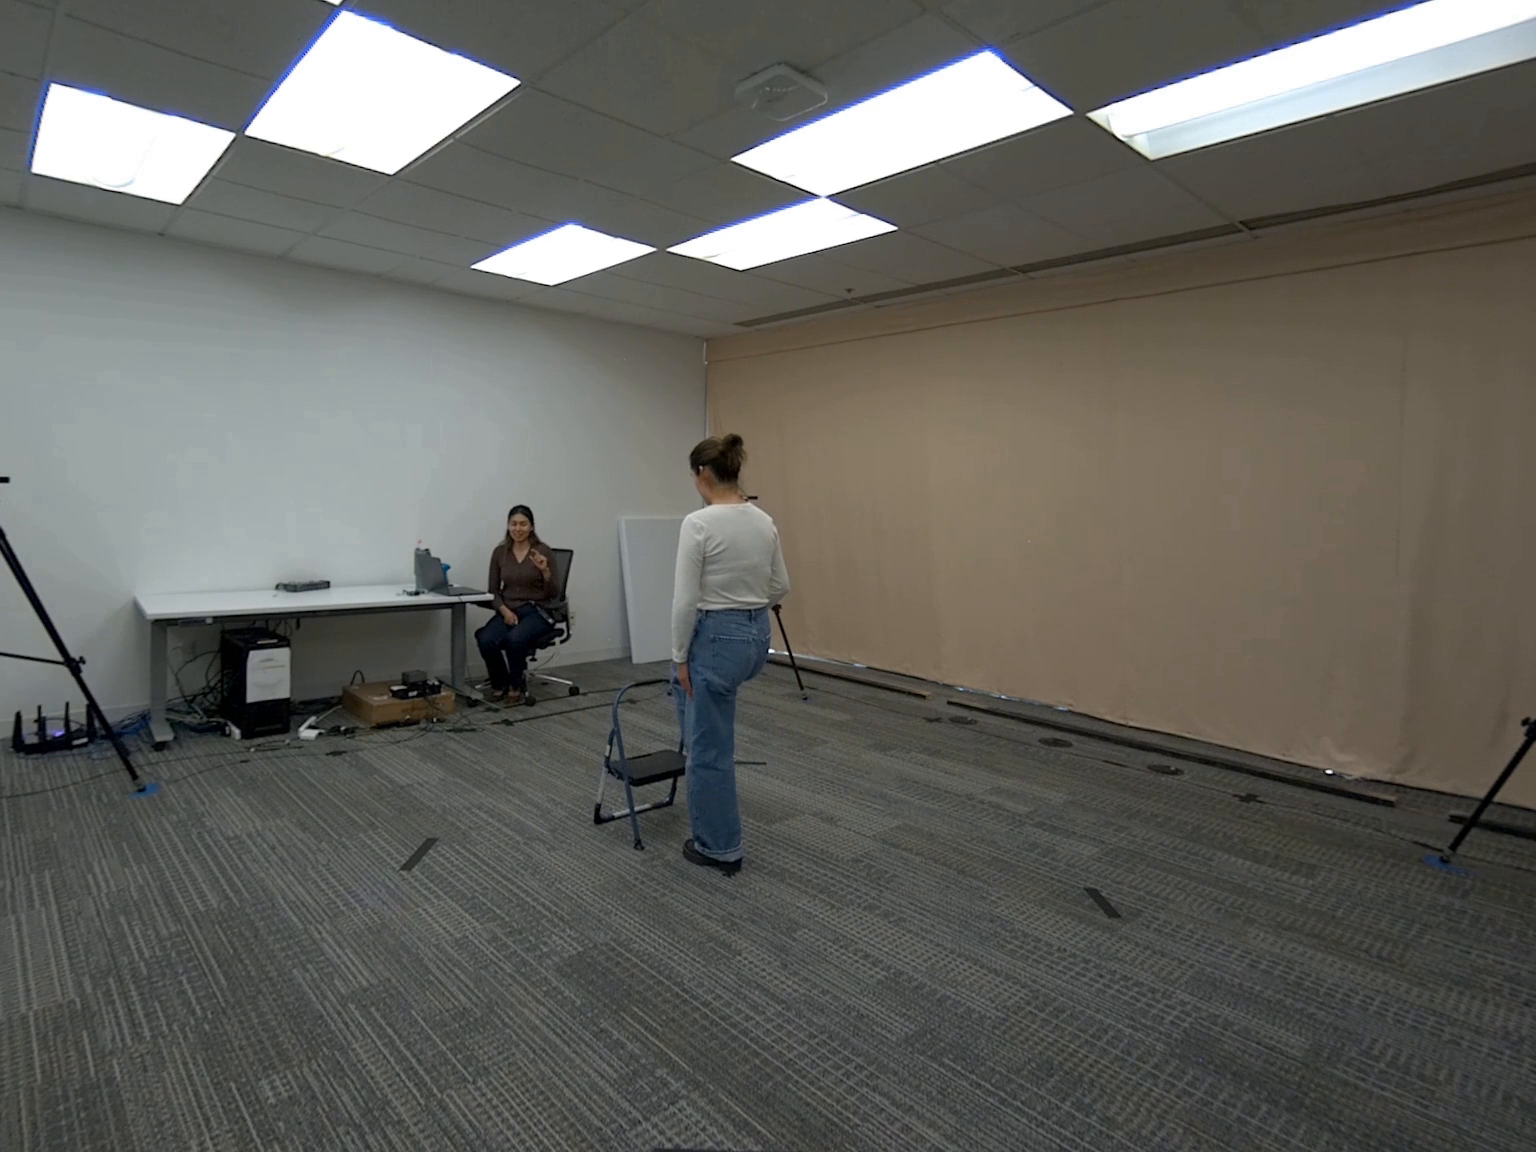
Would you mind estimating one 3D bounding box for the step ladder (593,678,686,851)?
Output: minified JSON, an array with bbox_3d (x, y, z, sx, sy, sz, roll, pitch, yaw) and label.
[{"bbox_3d":[-0.472,0.753,3.553,0.421,0.605,0.358,-2,4,-43],"label":"step ladder"}]
